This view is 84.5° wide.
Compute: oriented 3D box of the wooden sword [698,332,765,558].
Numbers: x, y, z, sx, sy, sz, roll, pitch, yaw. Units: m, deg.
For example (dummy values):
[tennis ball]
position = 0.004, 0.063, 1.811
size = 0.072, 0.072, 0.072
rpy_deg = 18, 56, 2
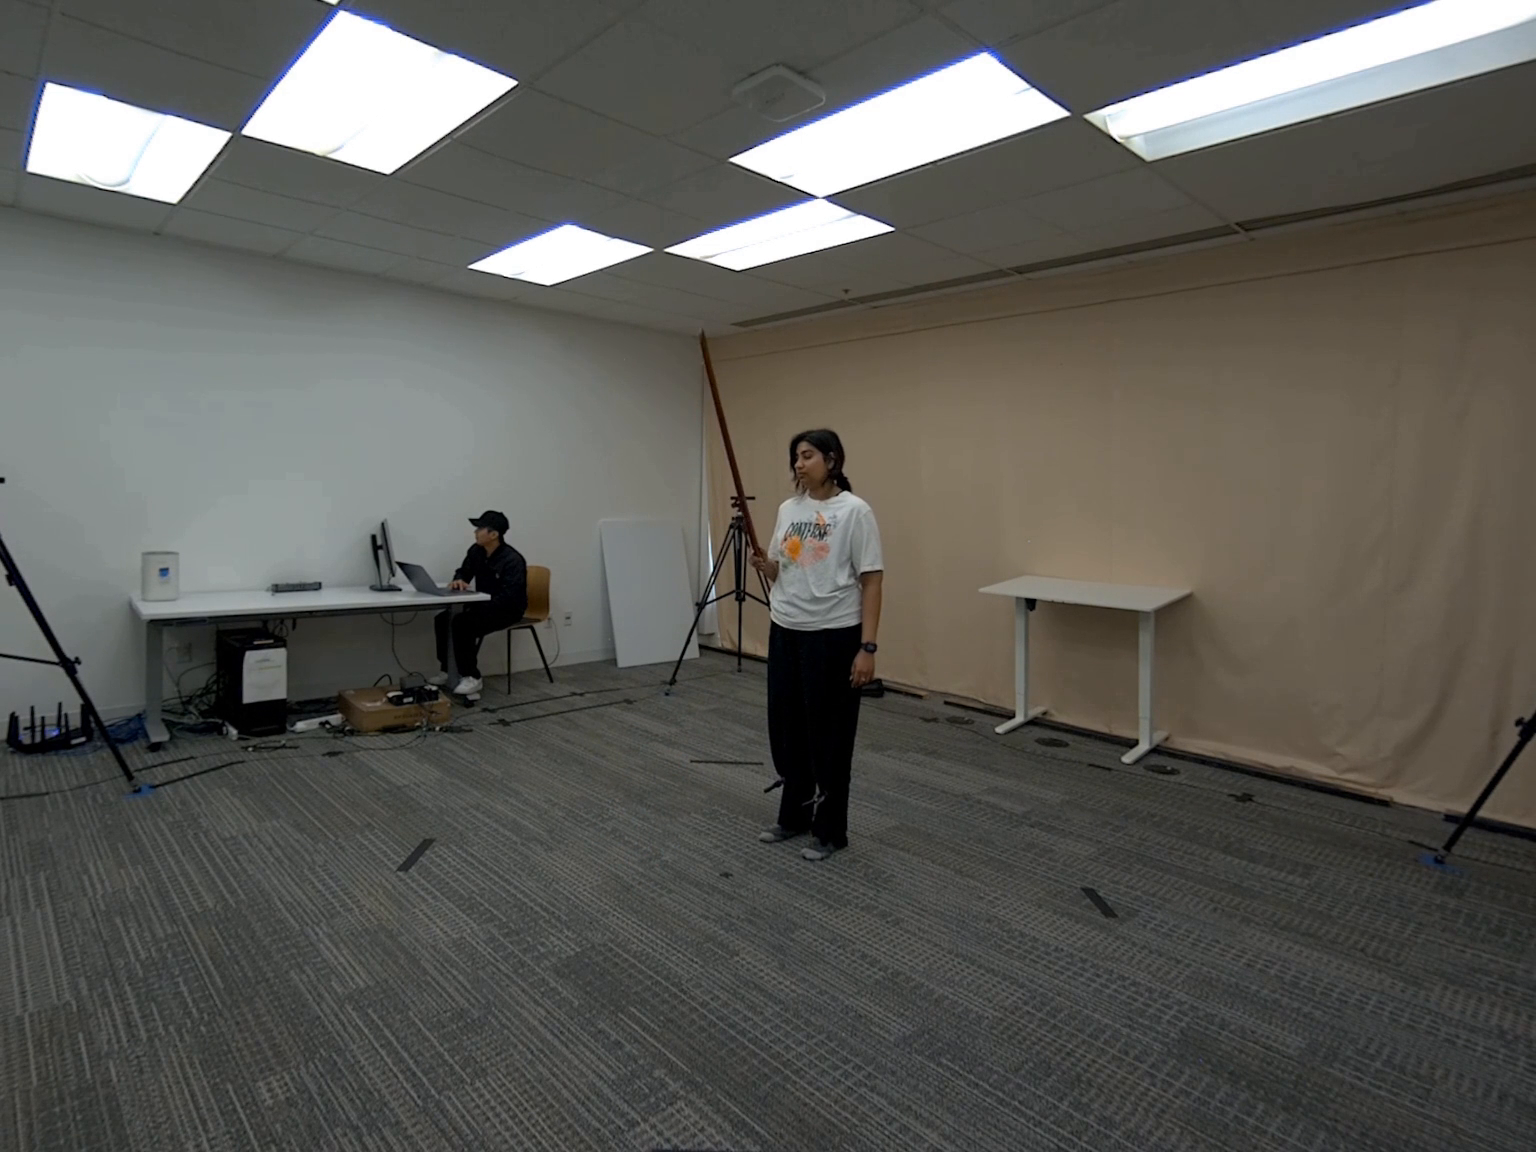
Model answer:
[wooden sword]
position = -0.140, -0.403, 3.043
size = 0.024, 0.998, 0.053
rpy_deg = -36, 42, -28
